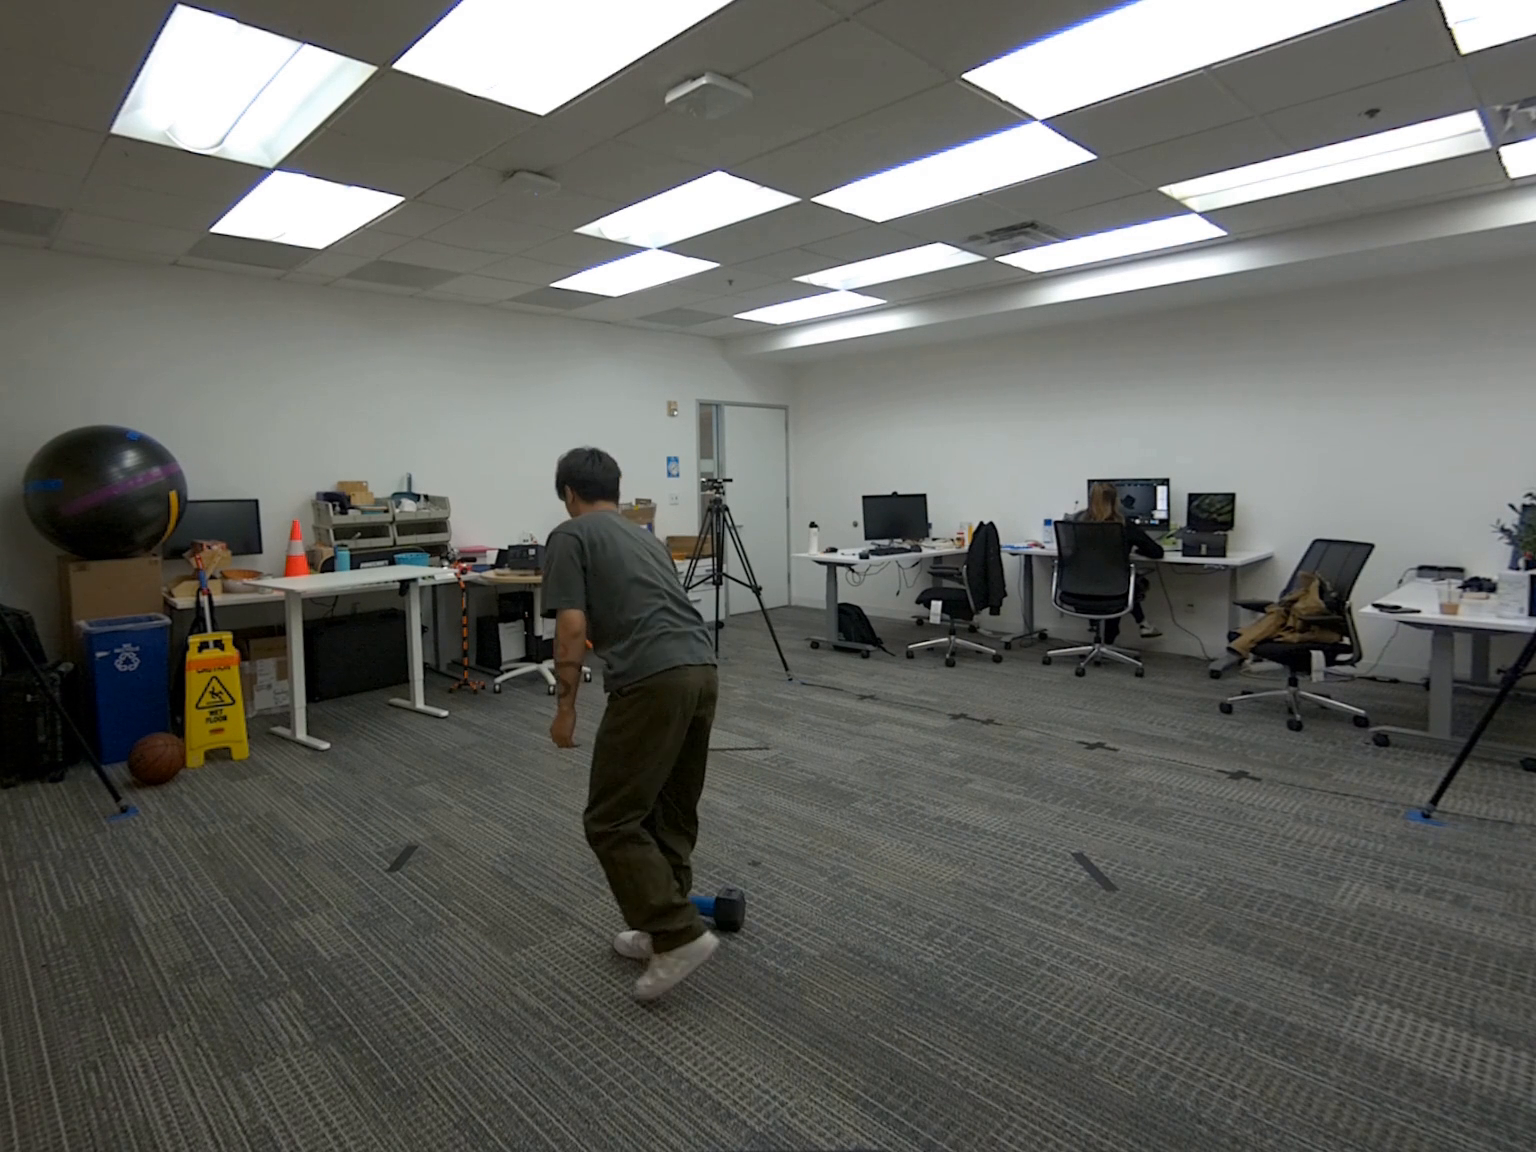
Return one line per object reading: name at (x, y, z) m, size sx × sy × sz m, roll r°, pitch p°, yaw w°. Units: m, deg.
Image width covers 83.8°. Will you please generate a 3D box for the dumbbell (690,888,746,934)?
dumbbell at (-0.213, 1.040, 2.699) m, size 0.298 × 0.108 × 0.121 m, roll 2°, pitch 4°, yaw 16°
